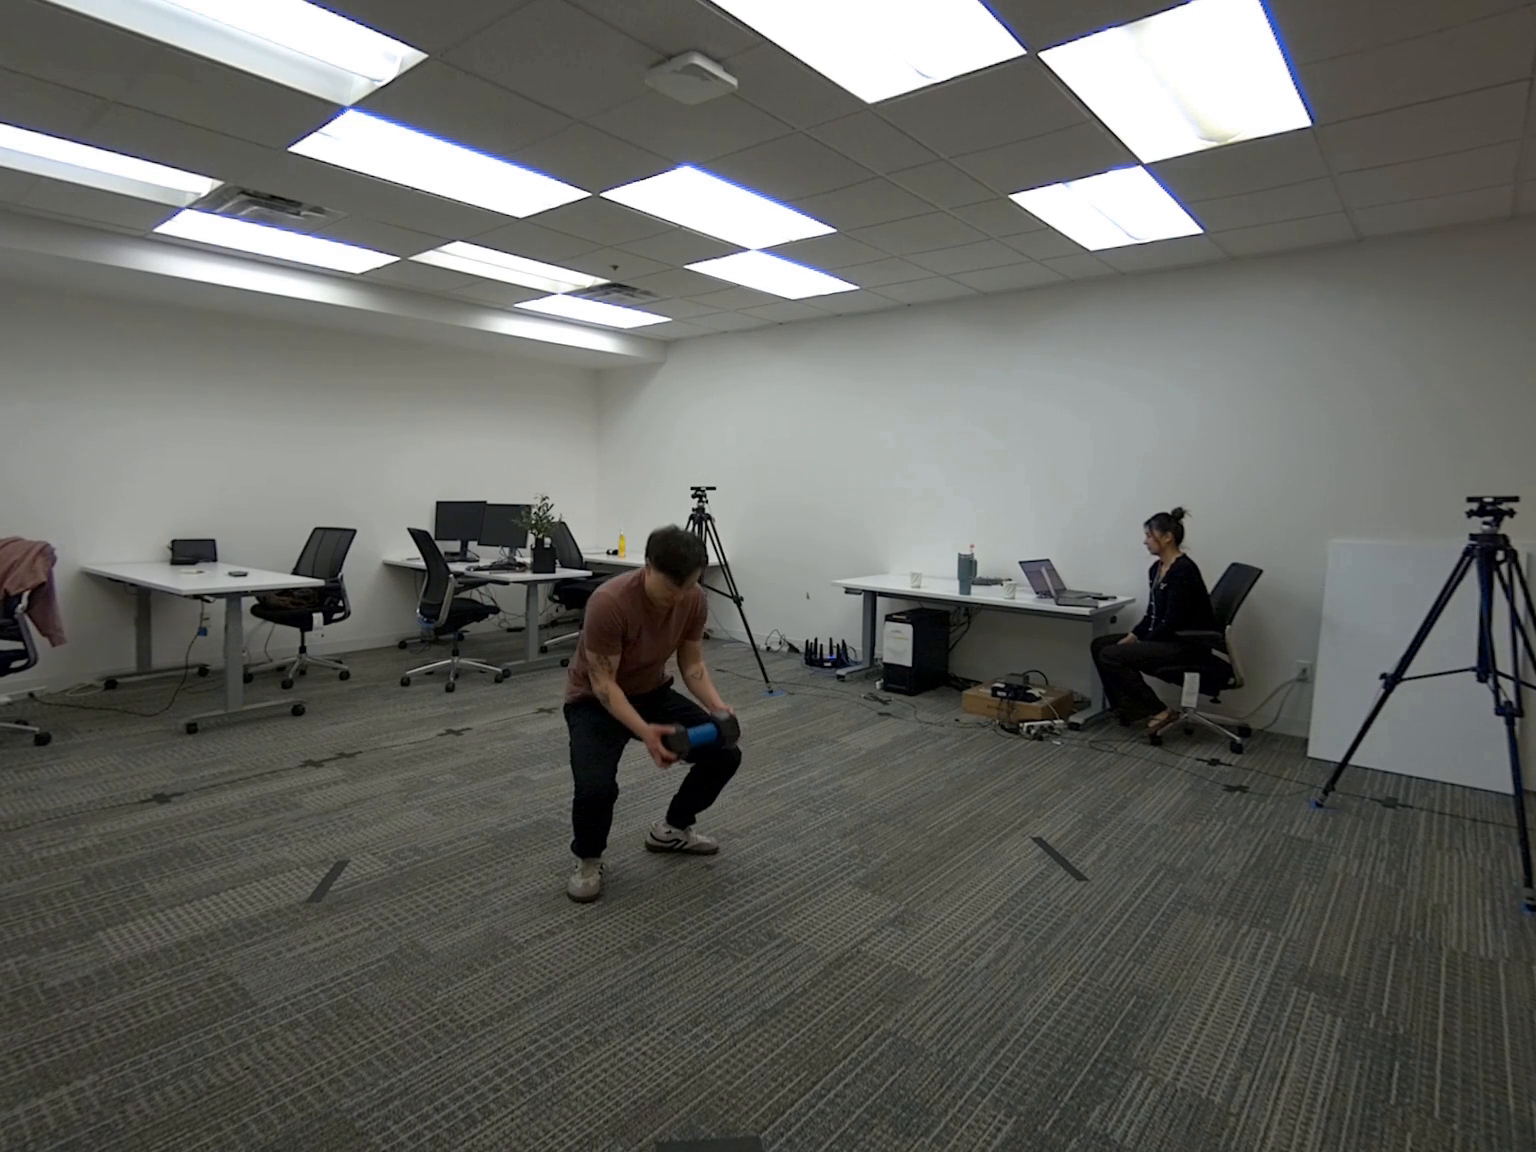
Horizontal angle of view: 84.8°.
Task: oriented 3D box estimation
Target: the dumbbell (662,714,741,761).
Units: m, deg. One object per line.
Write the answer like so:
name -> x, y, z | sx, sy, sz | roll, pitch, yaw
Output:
dumbbell -> -0.260, 0.543, 2.819 | 0.285, 0.125, 0.110 | -3, -14, -37
